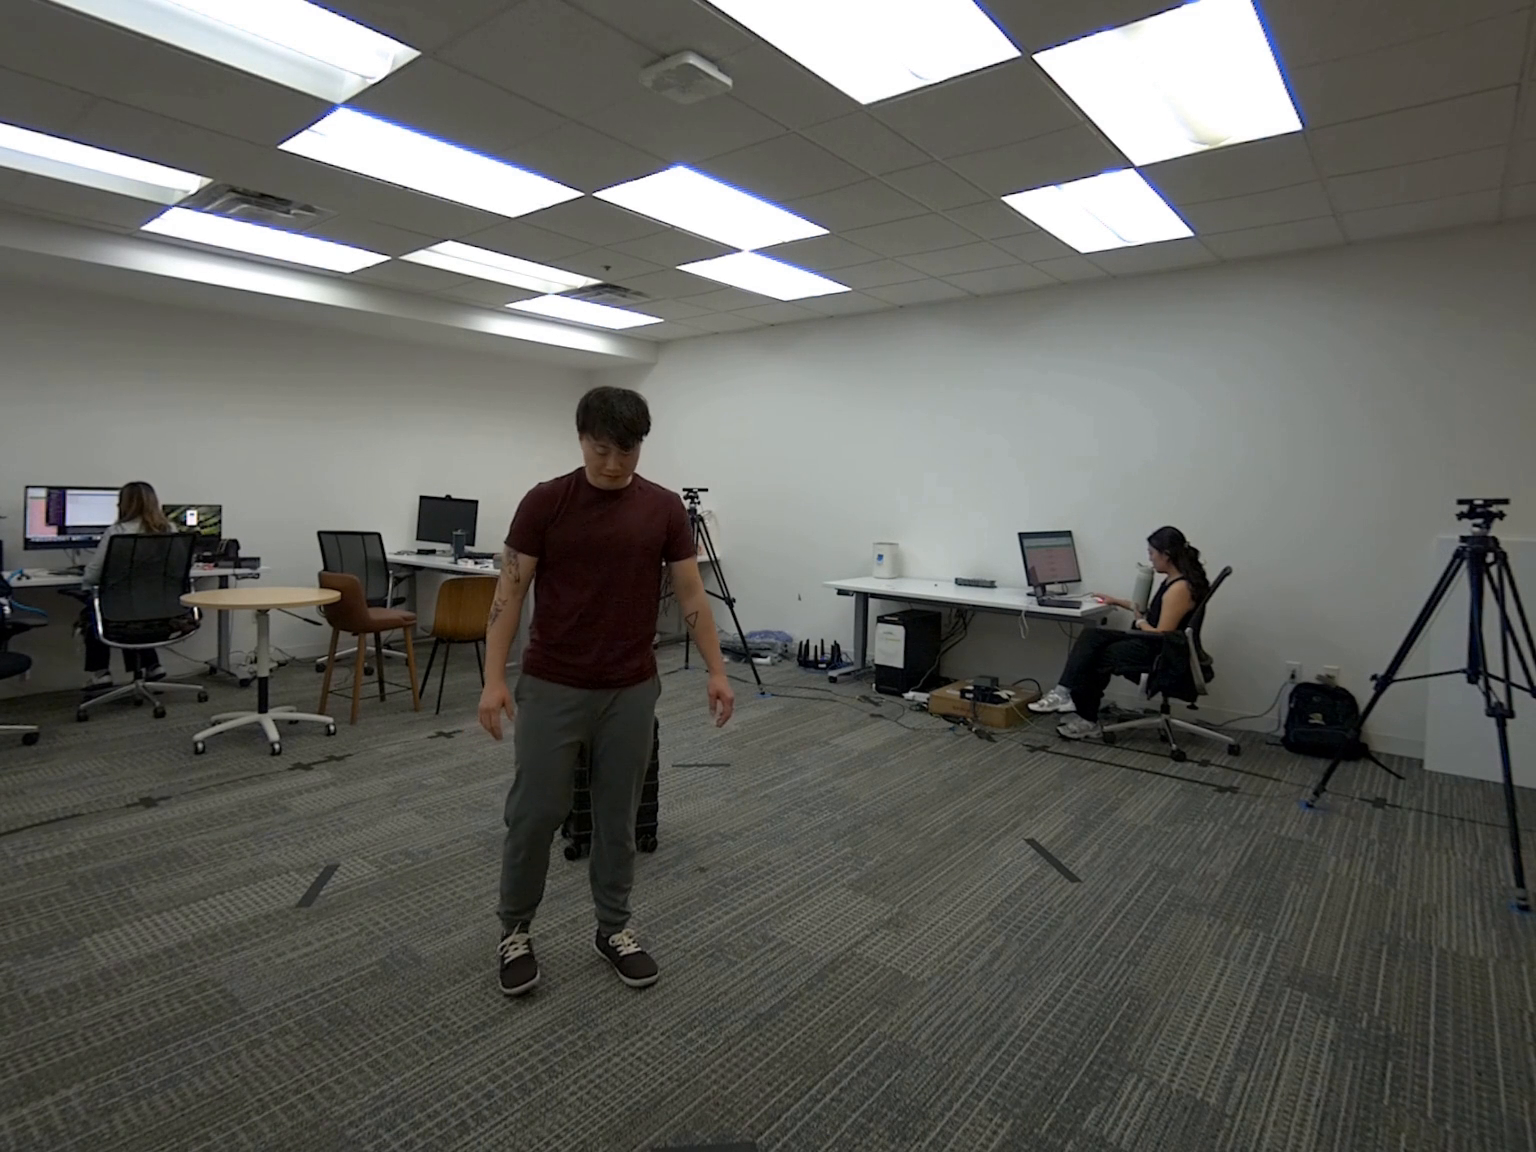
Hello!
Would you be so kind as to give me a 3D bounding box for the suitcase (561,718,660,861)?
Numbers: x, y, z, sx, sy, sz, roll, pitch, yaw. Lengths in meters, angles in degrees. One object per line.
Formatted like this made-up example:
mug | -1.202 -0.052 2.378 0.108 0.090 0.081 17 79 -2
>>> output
suitcase | -0.616 0.568 3.308 0.377 0.977 0.262 0 2 -18
